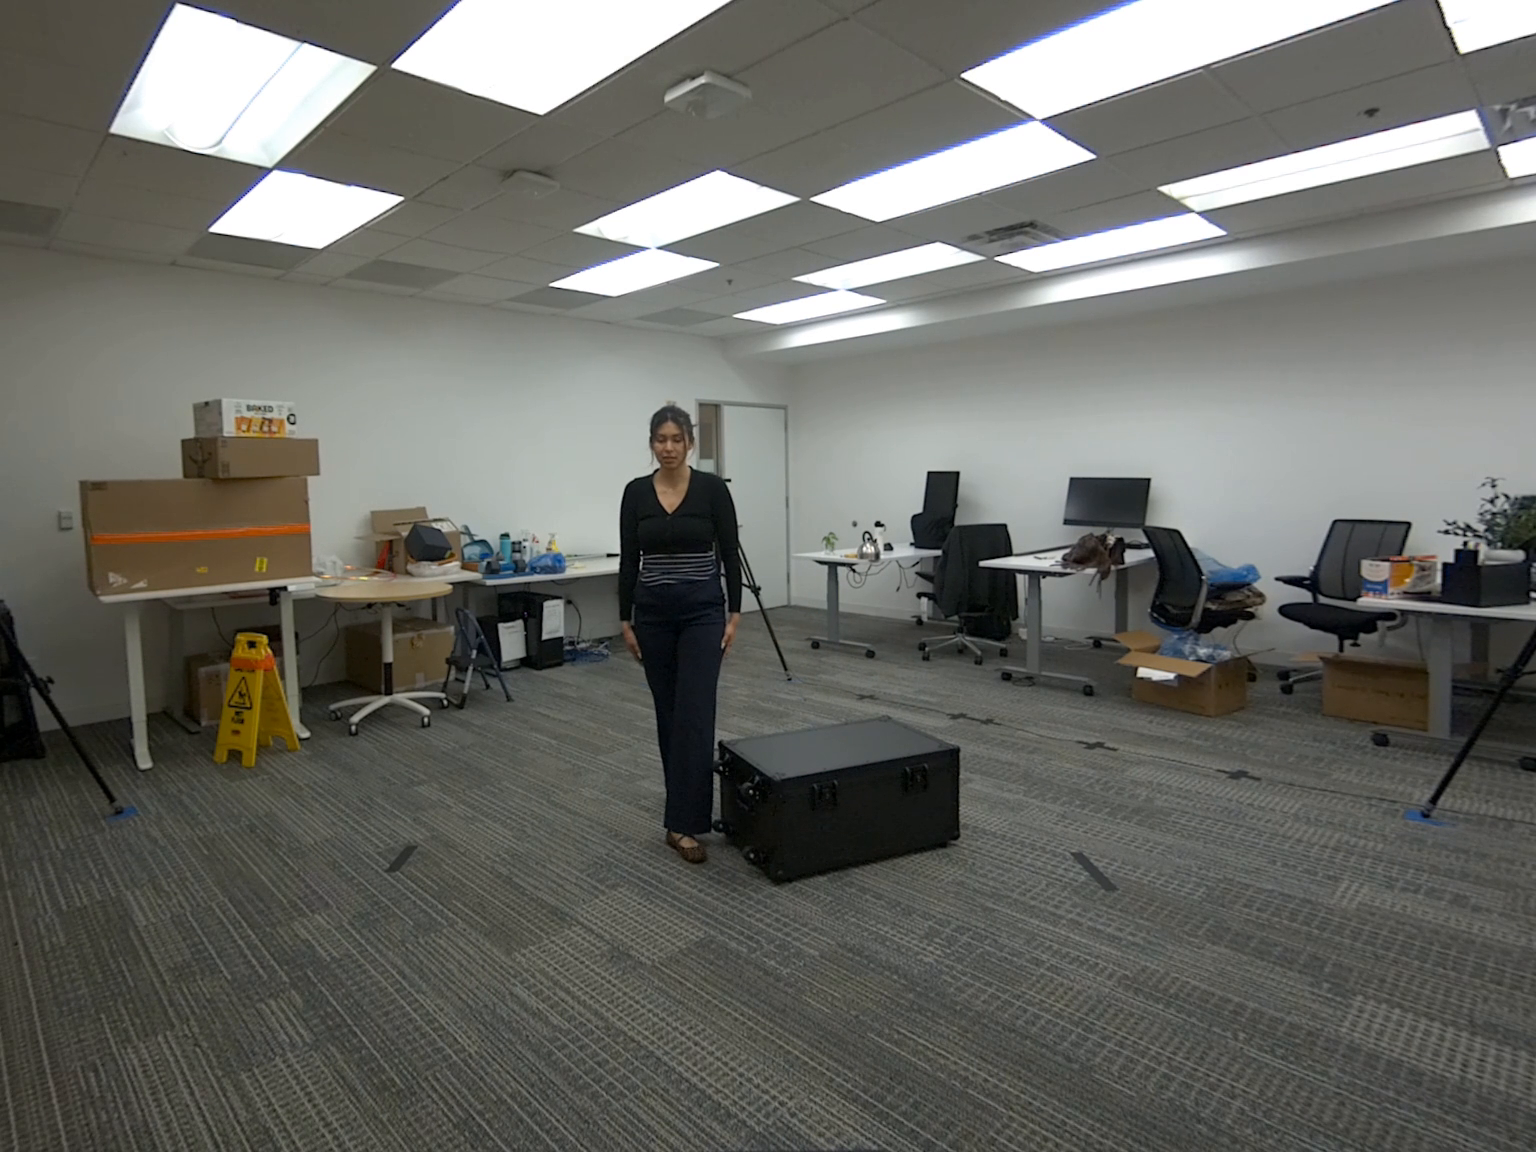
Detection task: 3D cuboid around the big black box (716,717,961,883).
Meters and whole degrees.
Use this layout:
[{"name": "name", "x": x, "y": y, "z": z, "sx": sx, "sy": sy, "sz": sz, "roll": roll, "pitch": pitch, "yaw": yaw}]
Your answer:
[{"name": "big black box", "x": 0.288, "y": 0.826, "z": 3.287, "sx": 0.844, "sy": 0.394, "sz": 0.535, "roll": -5, "pitch": 7, "yaw": -25}]
